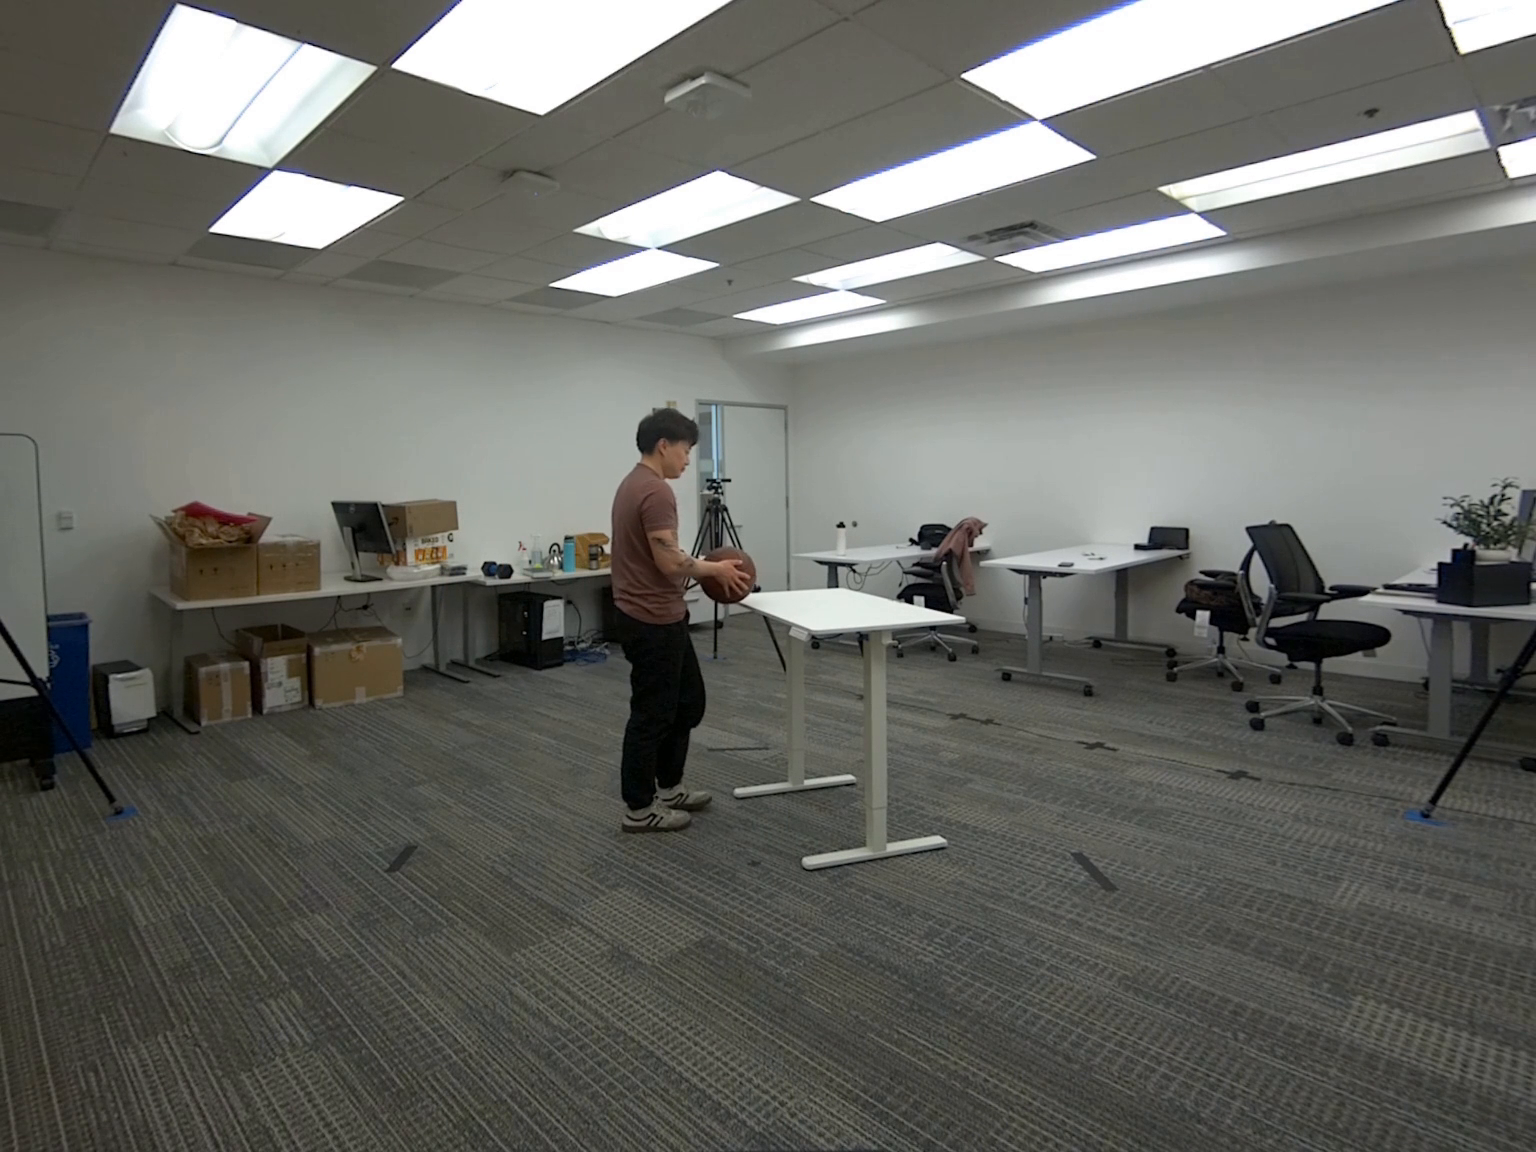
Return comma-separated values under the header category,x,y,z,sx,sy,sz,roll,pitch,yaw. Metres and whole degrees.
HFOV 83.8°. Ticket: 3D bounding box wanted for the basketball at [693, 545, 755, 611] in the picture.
category,x,y,z,sx,sy,sz,roll,pitch,yaw
basketball,-0.181,0.001,3.484,0.236,0.235,0.237,-1,5,-2
